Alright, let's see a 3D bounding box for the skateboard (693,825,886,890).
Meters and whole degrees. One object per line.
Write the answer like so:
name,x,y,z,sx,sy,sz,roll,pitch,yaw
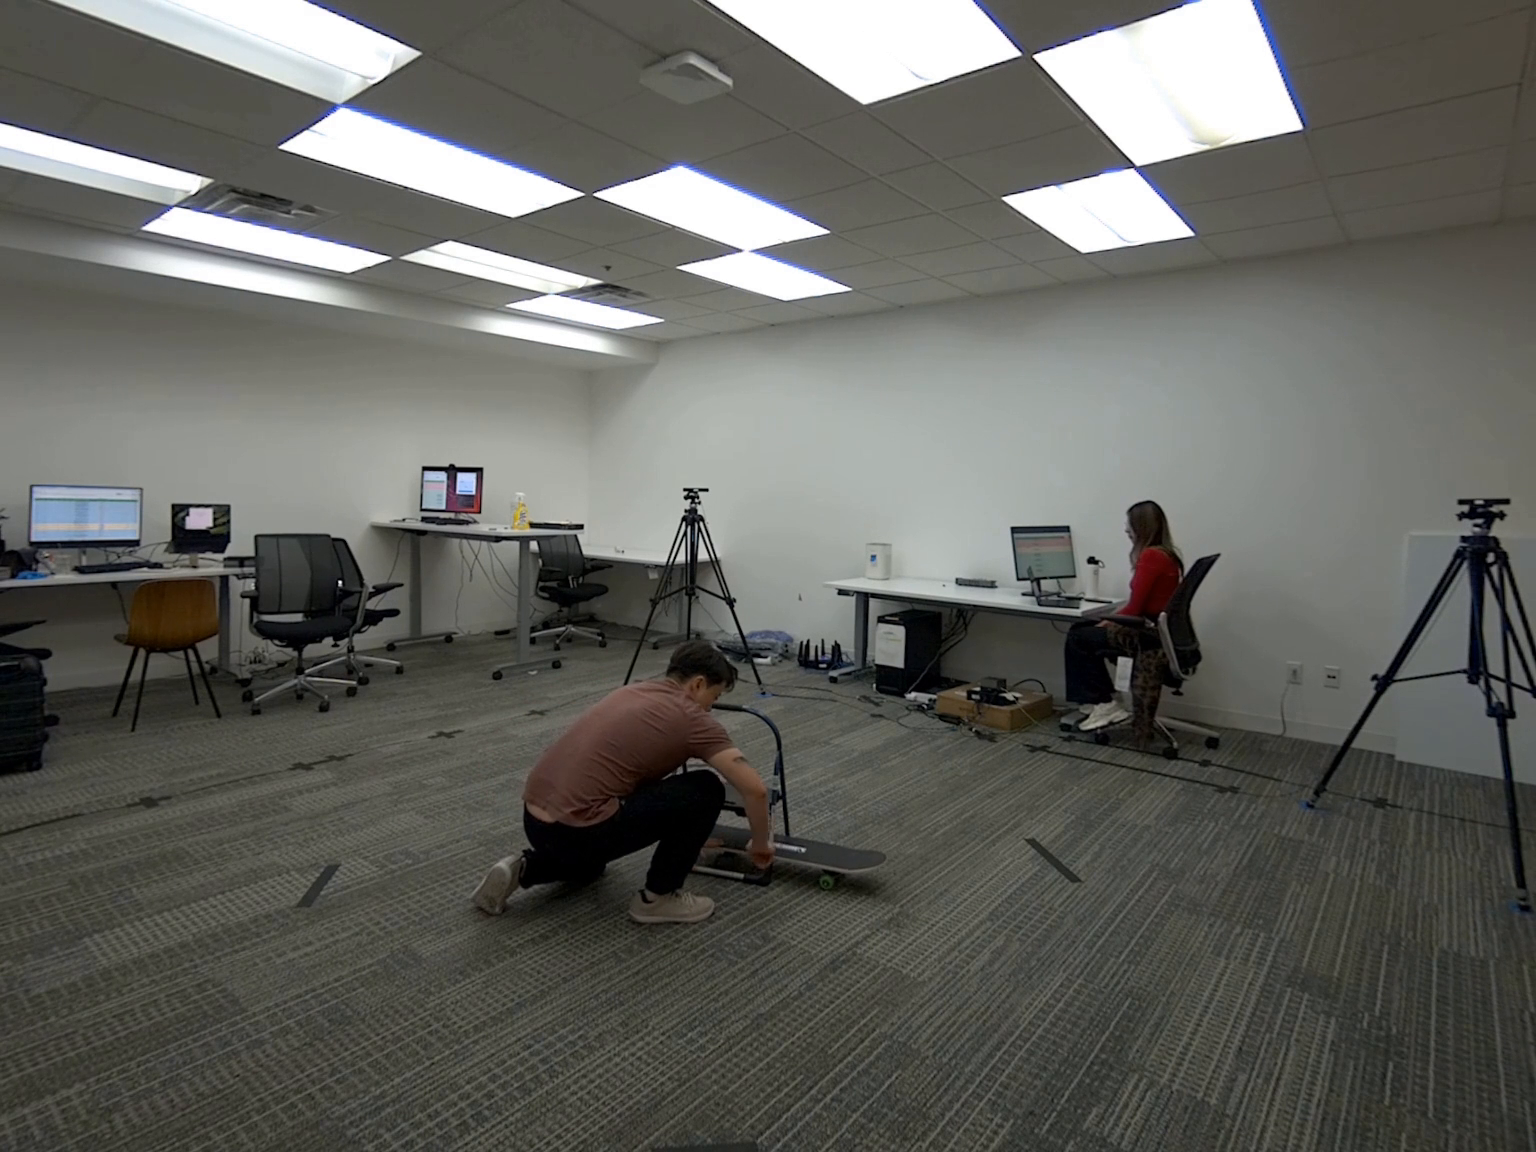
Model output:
skateboard,0.040,1.018,3.115,0.802,0.110,0.190,3,7,19
